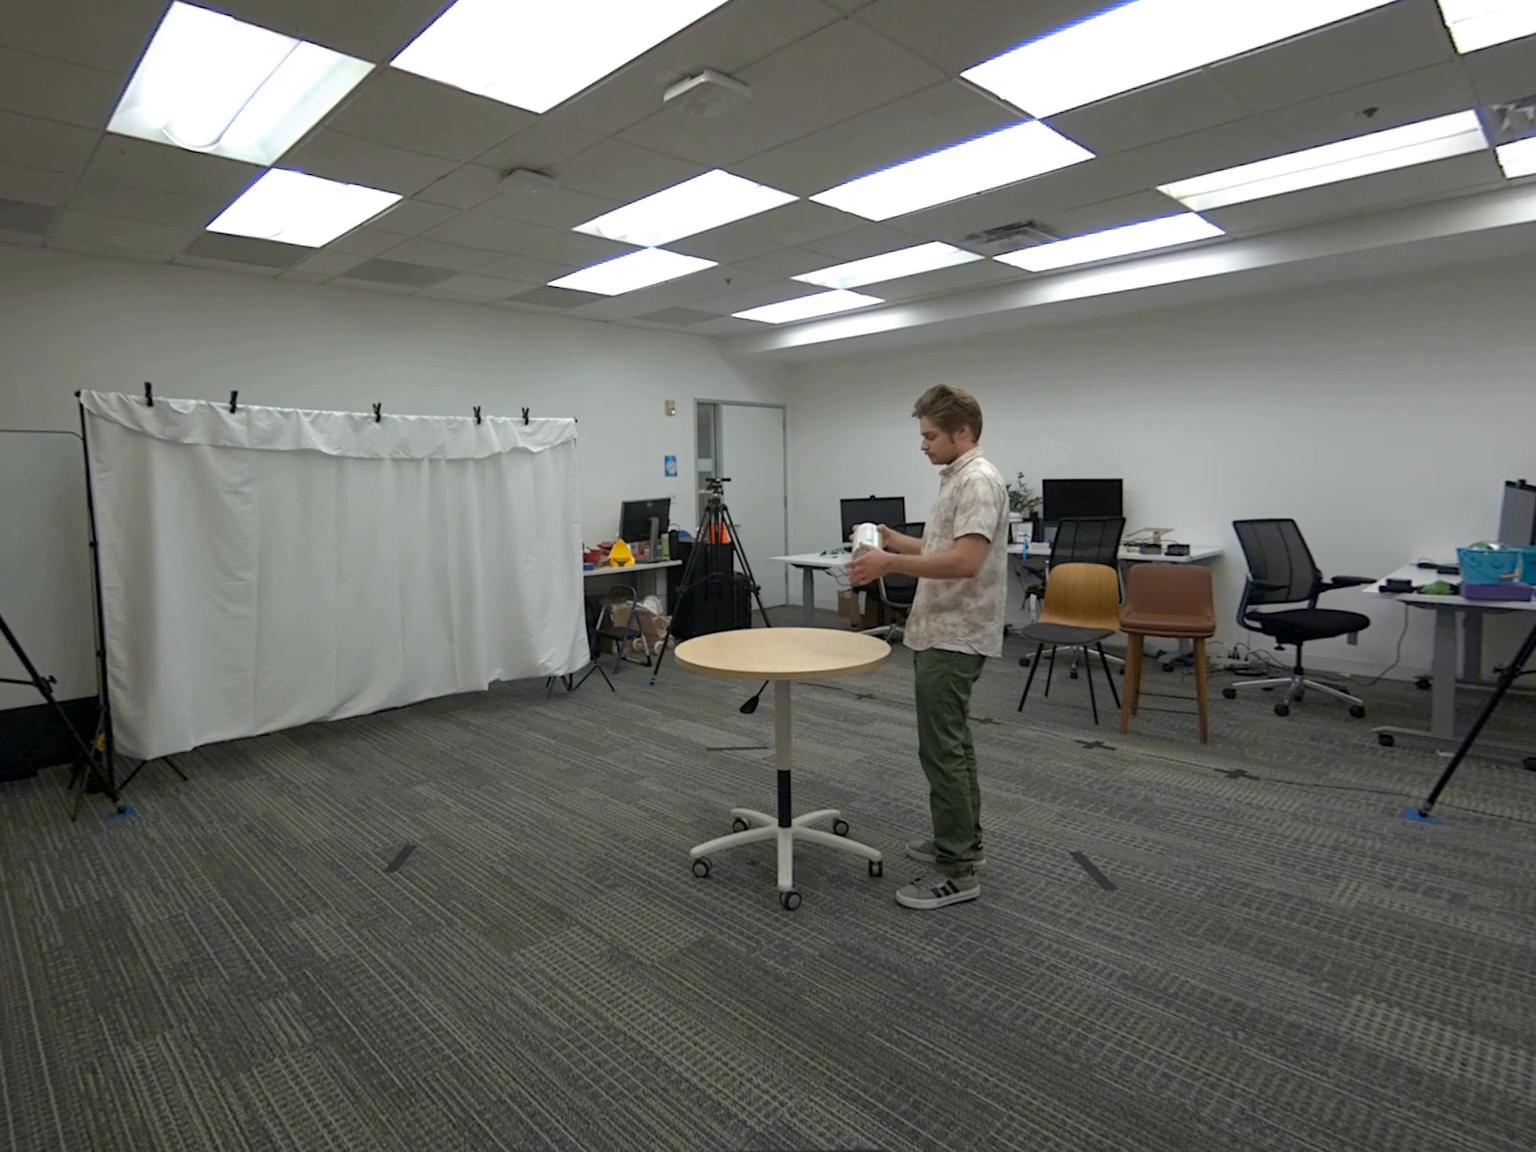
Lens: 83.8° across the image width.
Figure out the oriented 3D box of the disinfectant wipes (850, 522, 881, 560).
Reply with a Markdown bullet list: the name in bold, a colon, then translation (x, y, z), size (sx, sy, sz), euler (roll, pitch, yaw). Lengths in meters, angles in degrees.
- **disinfectant wipes**: translation (0.373, -0.102, 3.070), size (0.119, 0.115, 0.220), euler (-1, 26, 7)
